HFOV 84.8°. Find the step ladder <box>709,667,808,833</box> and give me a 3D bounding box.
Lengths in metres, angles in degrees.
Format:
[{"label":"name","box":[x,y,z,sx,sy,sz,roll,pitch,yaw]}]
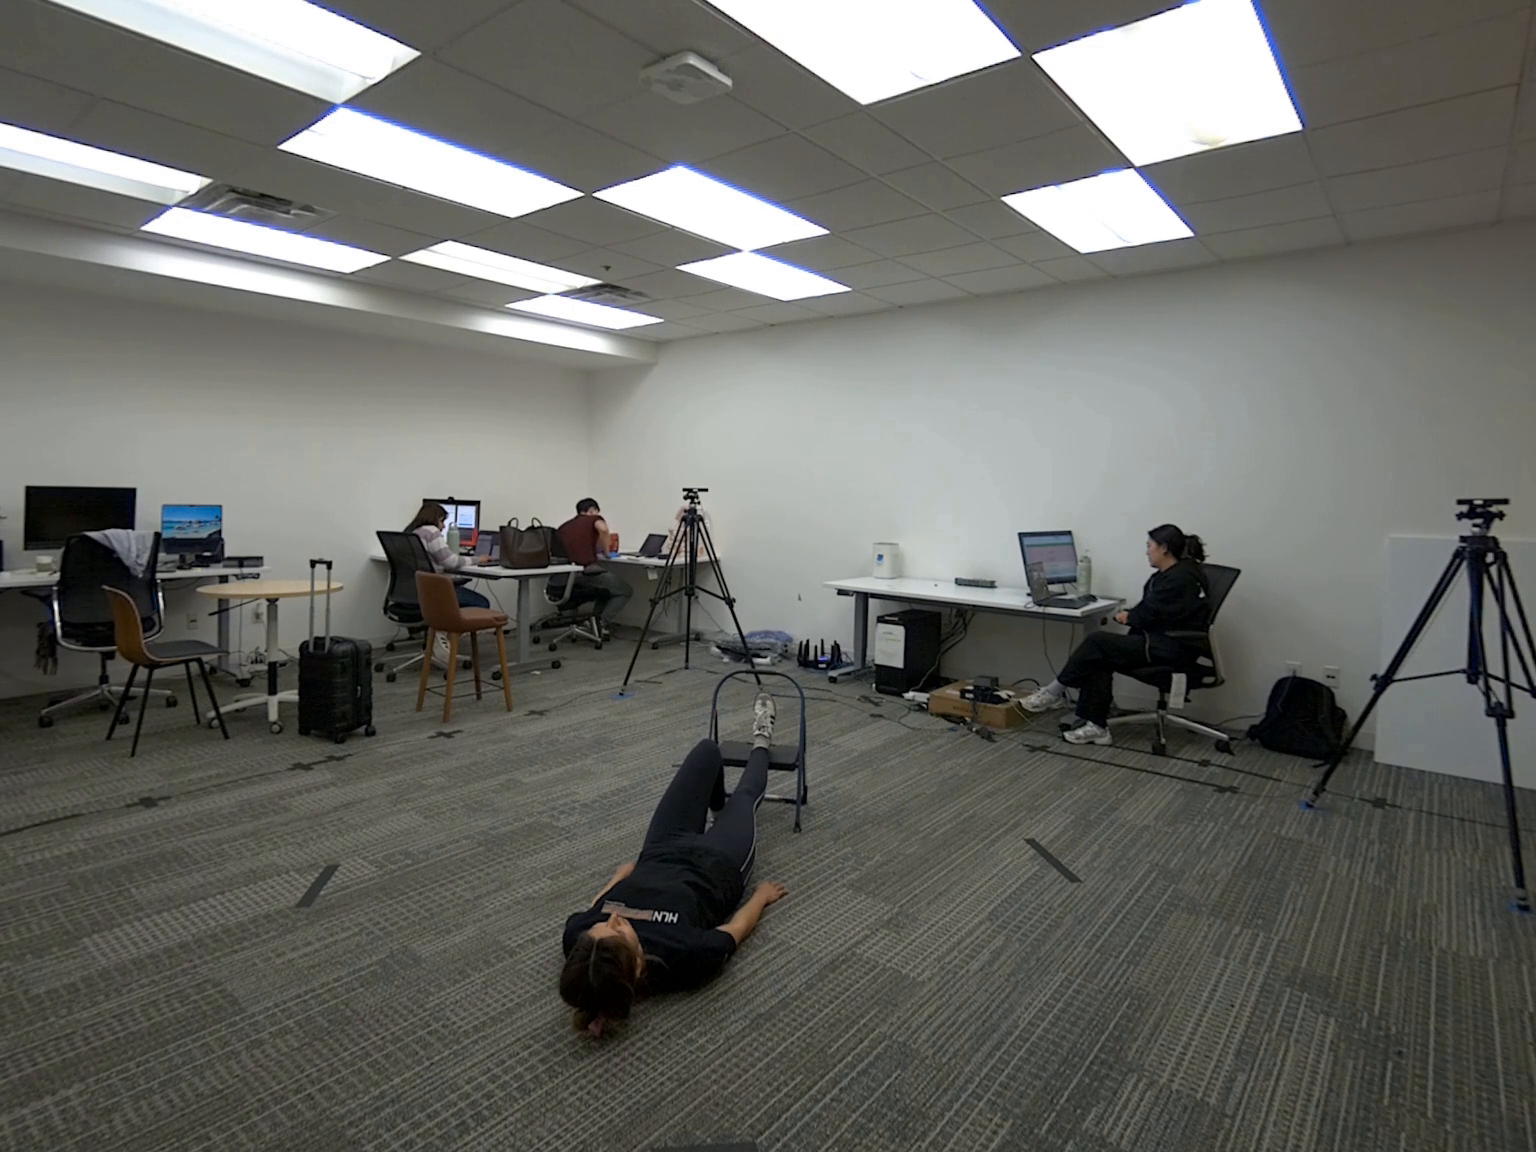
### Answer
[{"label":"step ladder","box":[-0.051,0.718,3.664,0.436,0.604,0.346,1,3,10]}]
